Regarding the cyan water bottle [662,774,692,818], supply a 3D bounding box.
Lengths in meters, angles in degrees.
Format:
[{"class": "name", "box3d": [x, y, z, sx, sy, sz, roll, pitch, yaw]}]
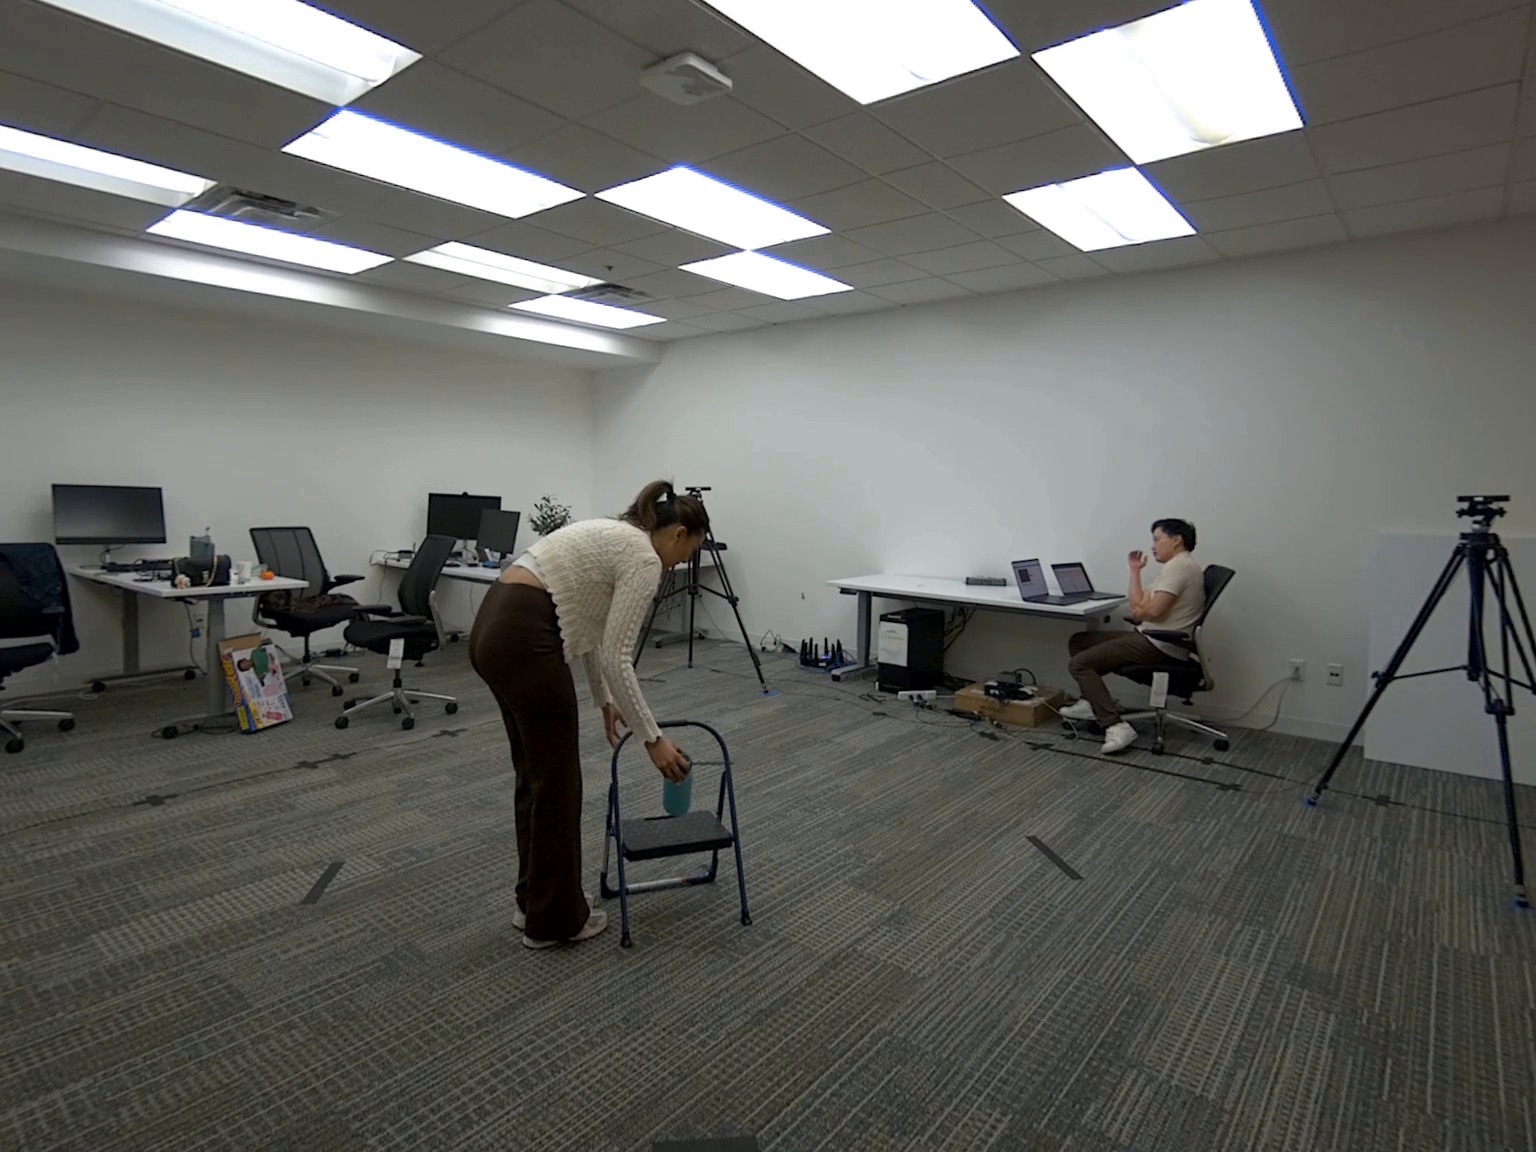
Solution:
[{"class": "cyan water bottle", "box3d": [-0.290, 0.630, 2.580, 0.092, 0.276, 0.095, 3, 45, -5]}]
